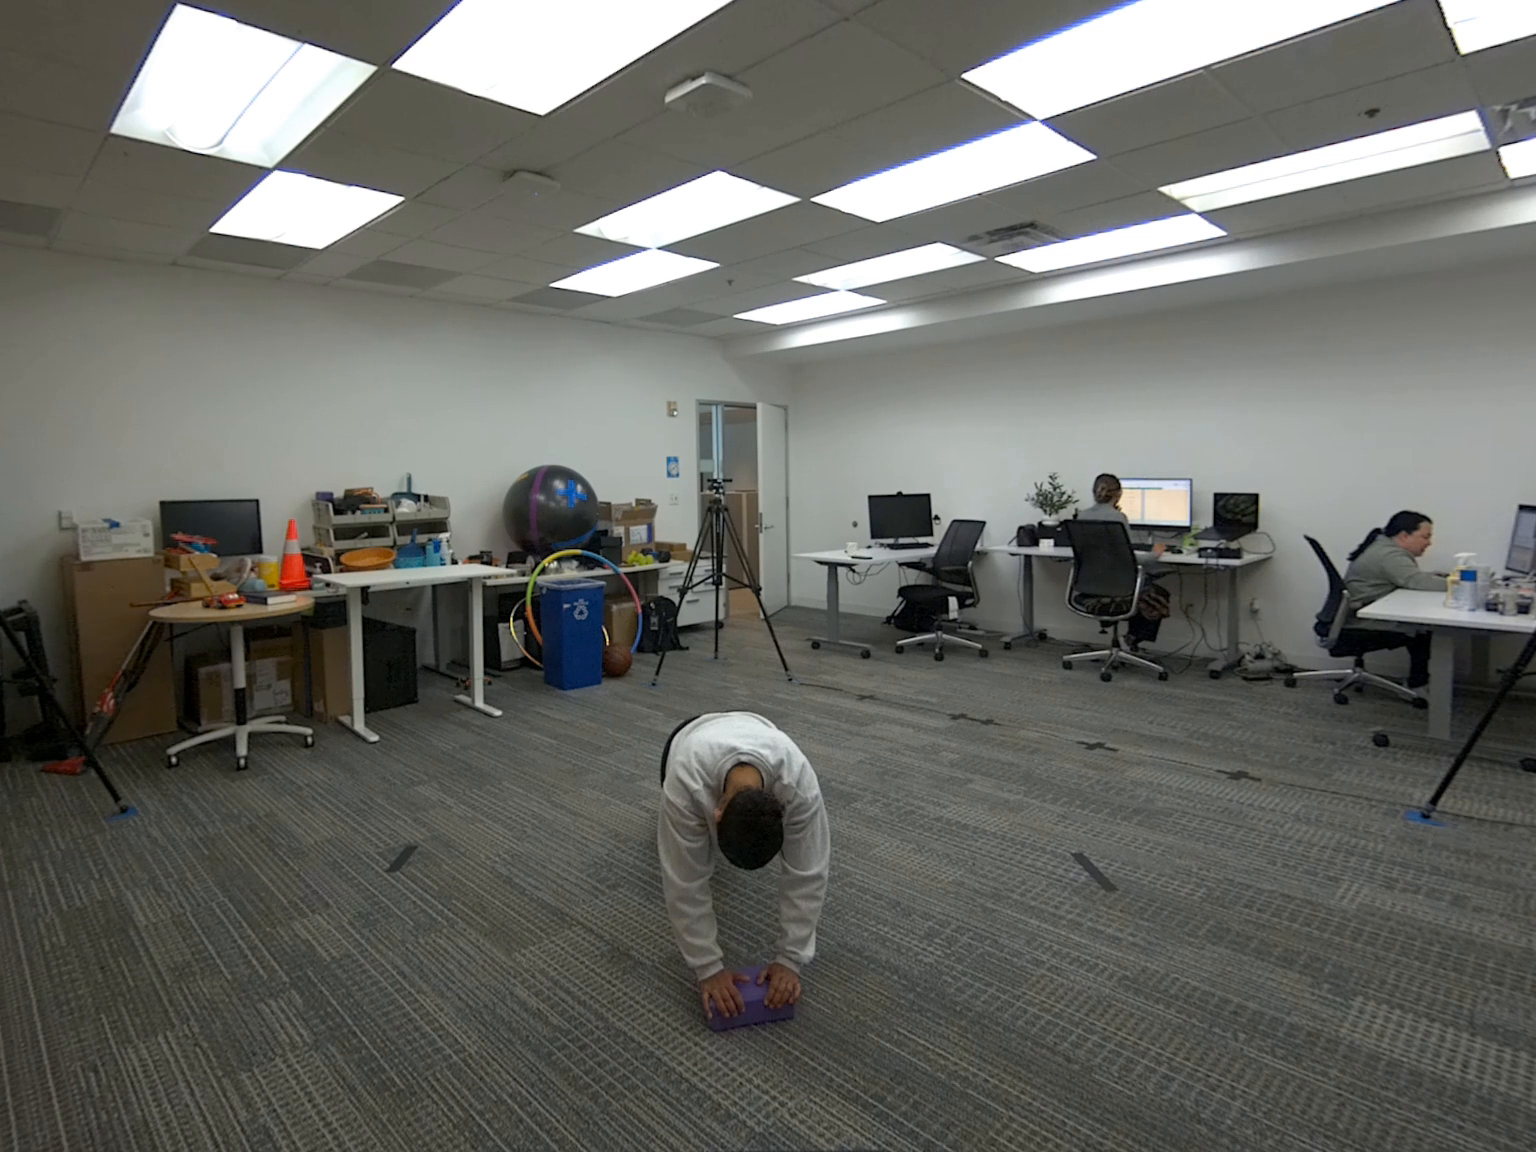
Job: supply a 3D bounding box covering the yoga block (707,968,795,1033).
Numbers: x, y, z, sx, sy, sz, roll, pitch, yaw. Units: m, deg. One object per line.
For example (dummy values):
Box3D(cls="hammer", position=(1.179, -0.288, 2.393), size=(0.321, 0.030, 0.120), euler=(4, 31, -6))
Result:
Box3D(cls="yoga block", position=(-0.048, 1.121, 2.254), size=(0.227, 0.076, 0.151), euler=(-3, 5, -13))
